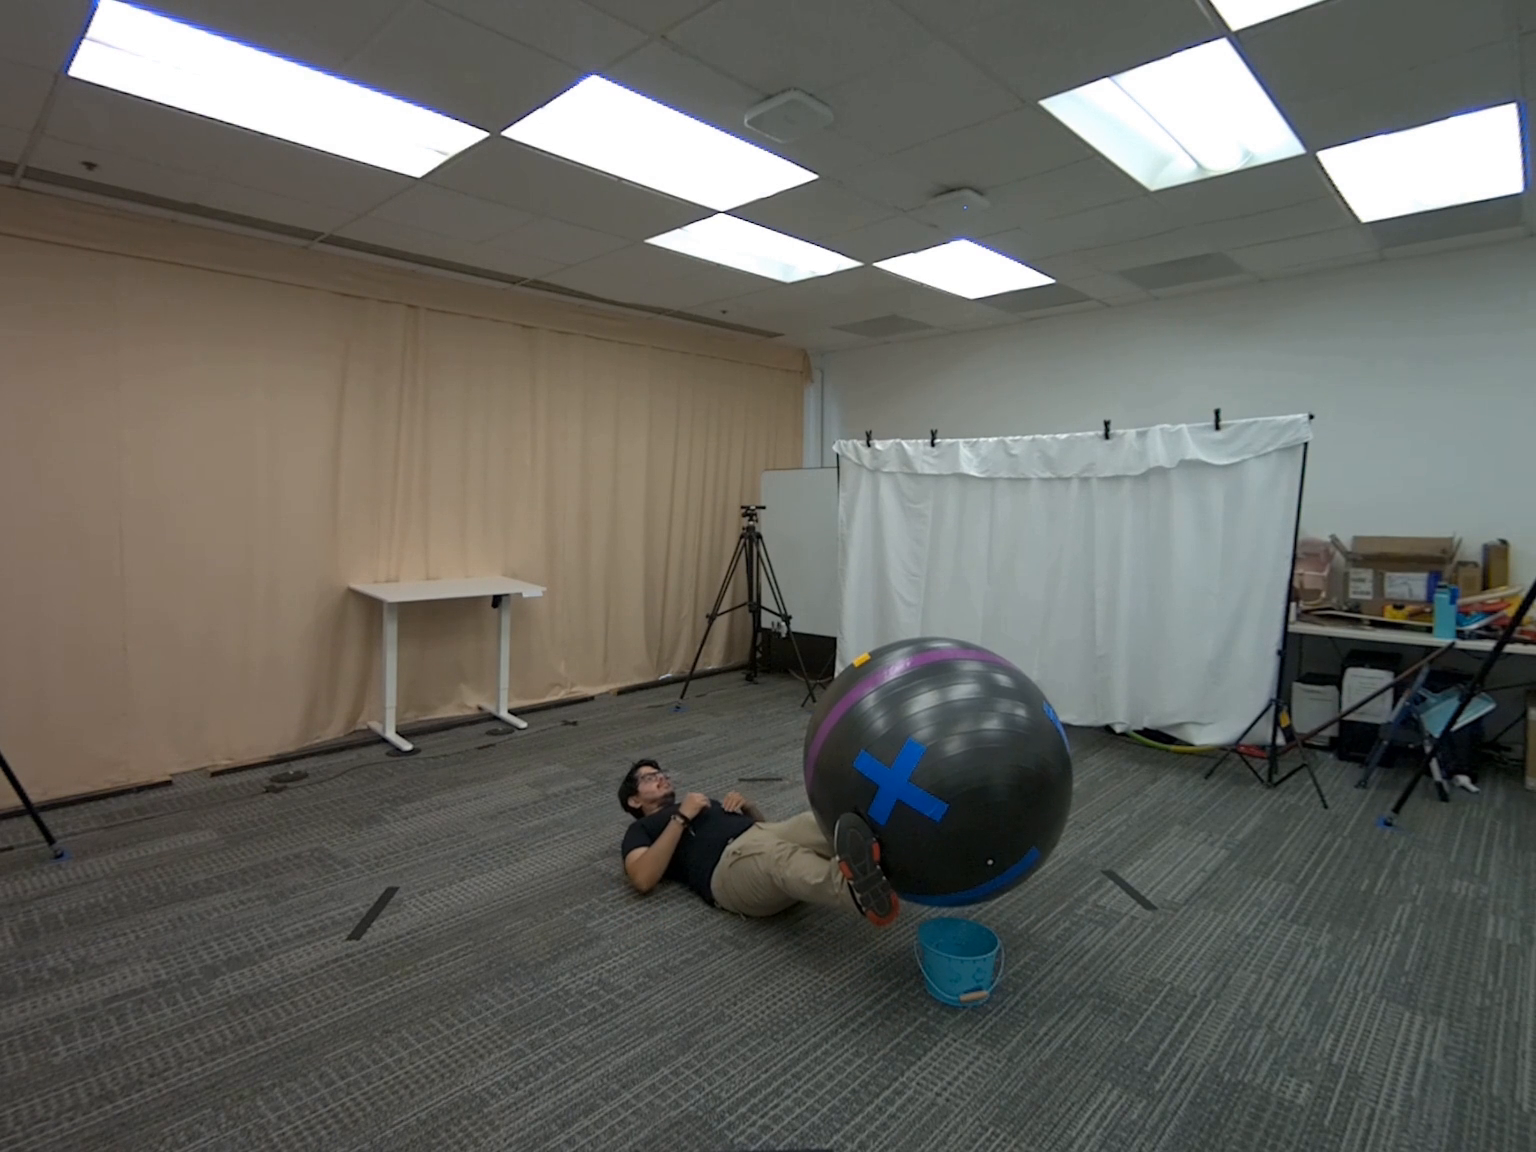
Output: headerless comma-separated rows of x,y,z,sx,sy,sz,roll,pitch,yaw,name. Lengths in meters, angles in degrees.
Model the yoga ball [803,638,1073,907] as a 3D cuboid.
0.492,0.564,2.464,0.757,0.756,0.760,0,4,-2,yoga ball
